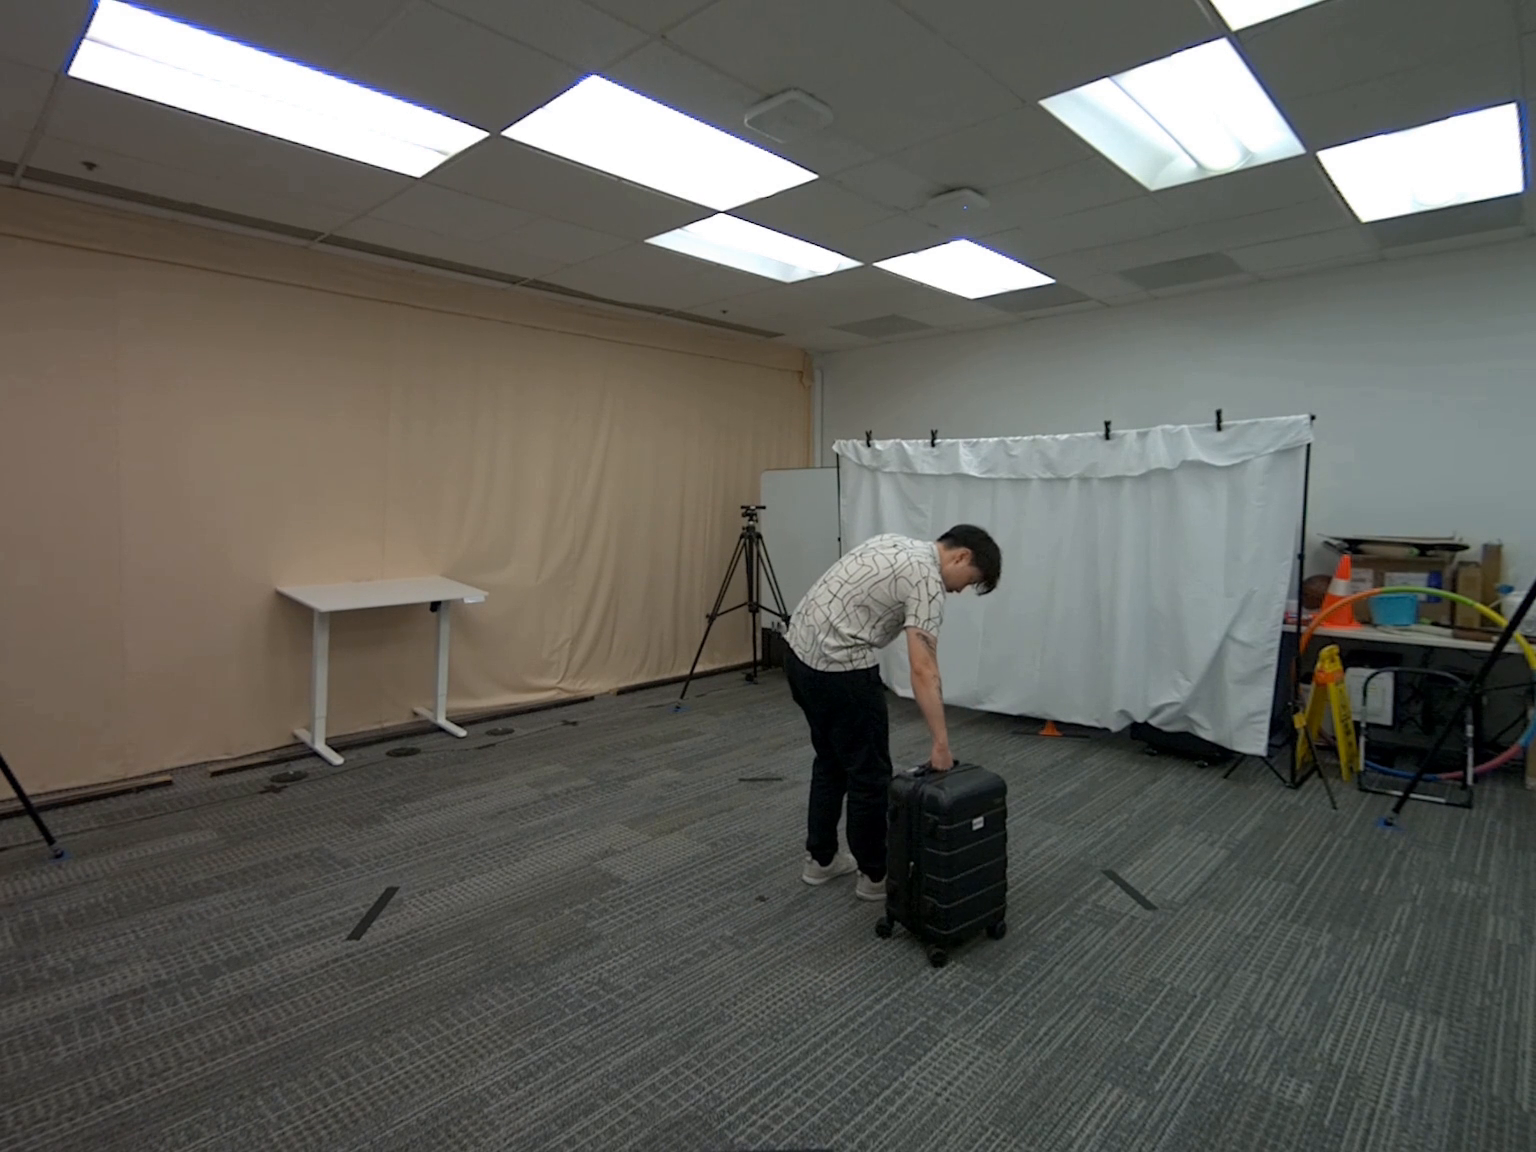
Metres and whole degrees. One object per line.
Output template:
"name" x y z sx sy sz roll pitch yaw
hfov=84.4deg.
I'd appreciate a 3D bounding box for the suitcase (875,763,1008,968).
"suitcase" 0.585 0.889 2.711 0.364 0.548 0.256 -1 4 -39
